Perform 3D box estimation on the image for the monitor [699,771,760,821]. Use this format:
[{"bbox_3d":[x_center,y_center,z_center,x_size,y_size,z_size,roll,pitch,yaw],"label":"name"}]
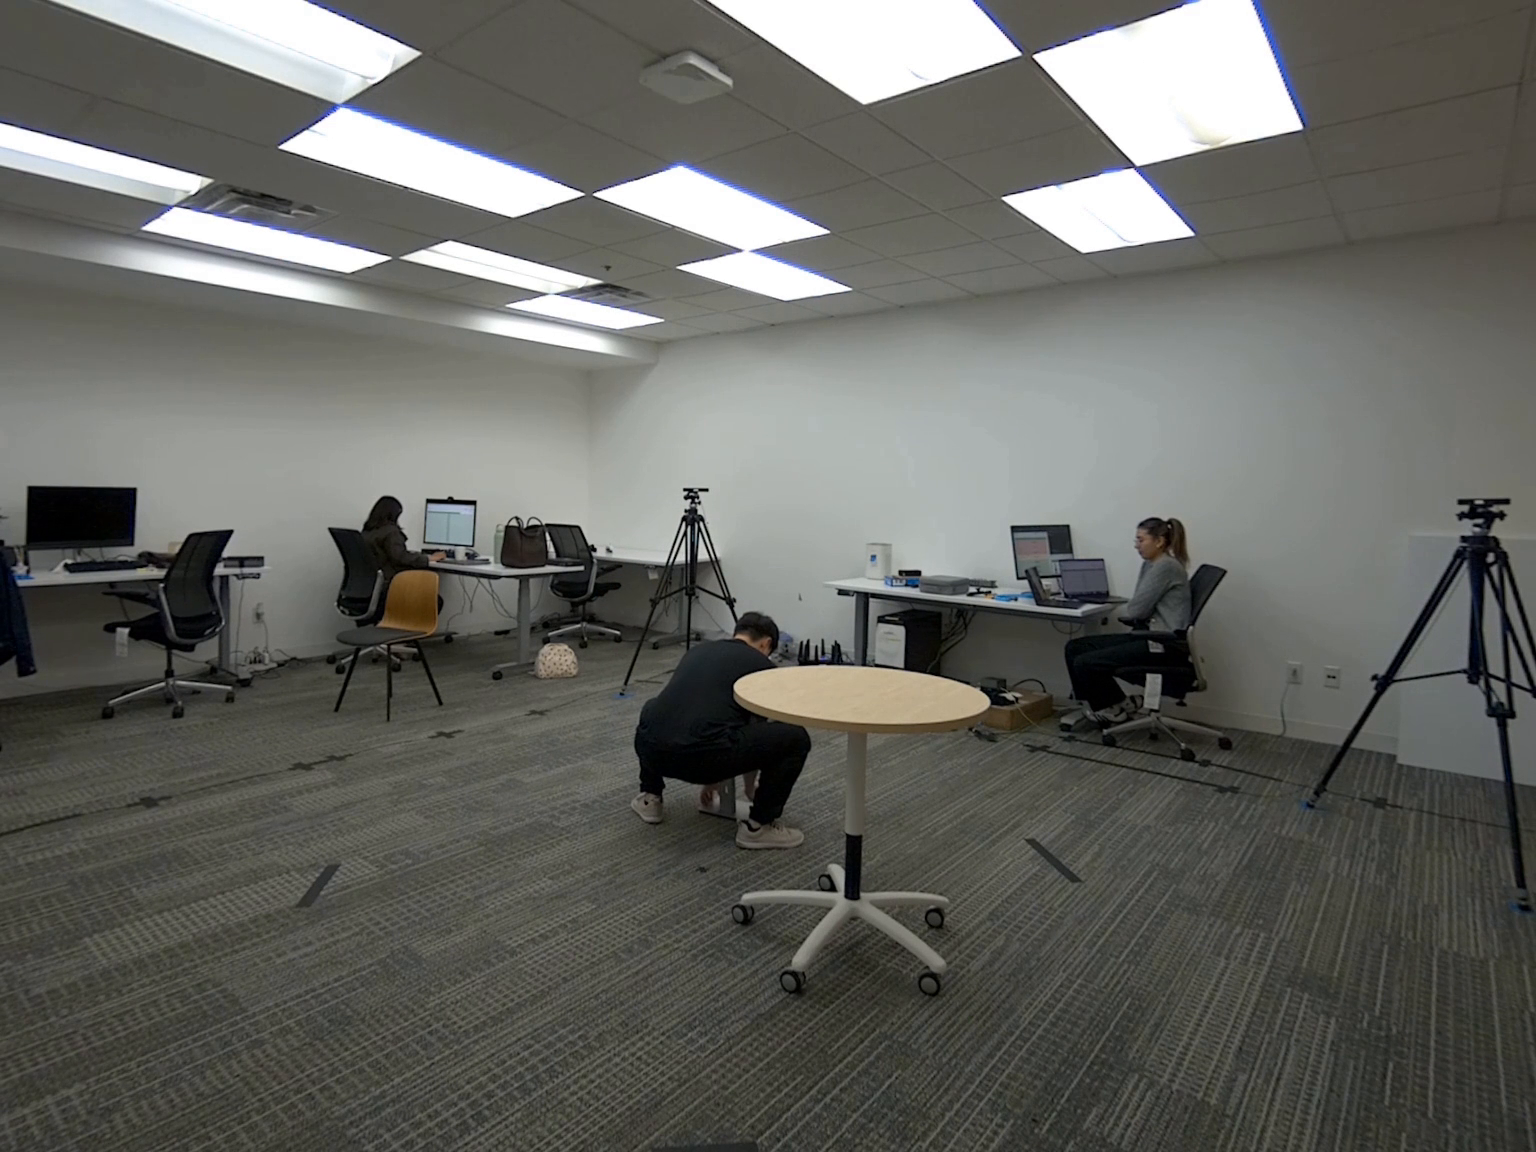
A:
[{"bbox_3d":[-0.152,0.747,3.679,0.553,0.523,0.182,3,0,26],"label":"monitor"}]
